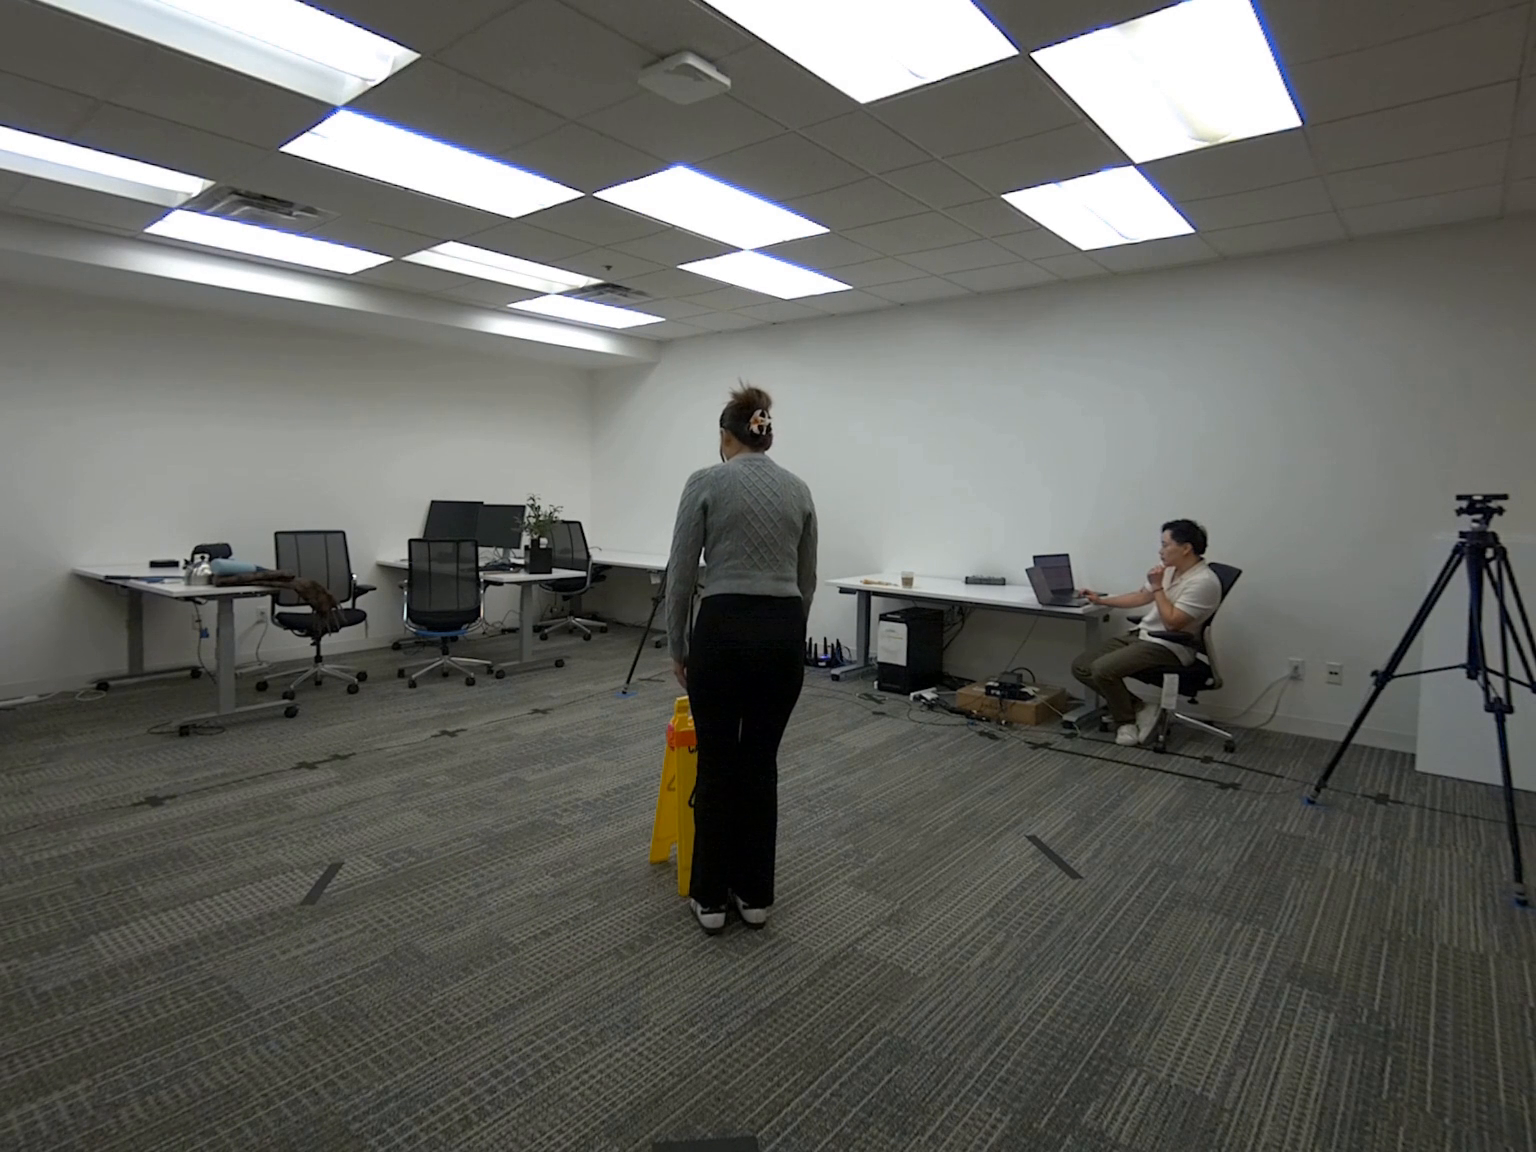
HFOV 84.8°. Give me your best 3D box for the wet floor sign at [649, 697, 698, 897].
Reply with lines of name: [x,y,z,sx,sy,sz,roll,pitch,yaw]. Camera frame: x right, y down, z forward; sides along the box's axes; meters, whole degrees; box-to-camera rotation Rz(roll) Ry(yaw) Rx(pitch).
wet floor sign: [-0.255,0.742,3.062,0.275,0.645,0.298,1,2,-27]
